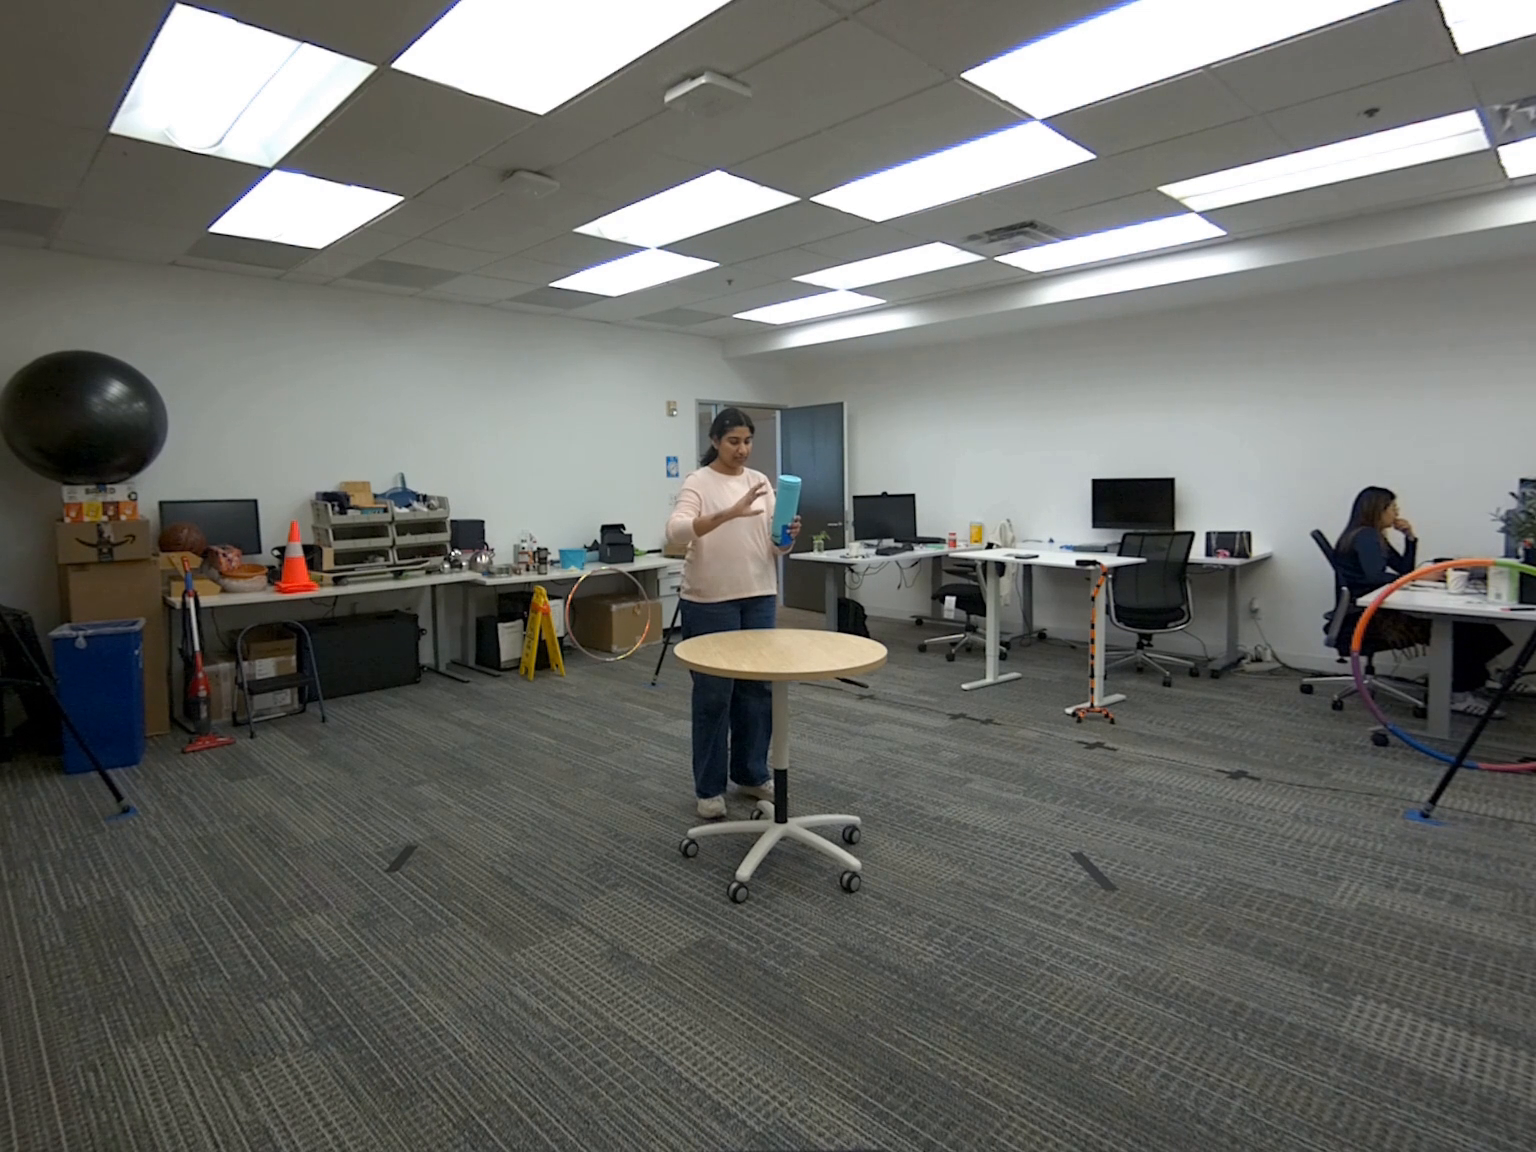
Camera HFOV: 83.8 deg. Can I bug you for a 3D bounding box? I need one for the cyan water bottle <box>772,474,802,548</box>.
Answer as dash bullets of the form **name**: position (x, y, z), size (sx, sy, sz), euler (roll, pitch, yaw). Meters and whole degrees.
- **cyan water bottle**: position (0.042, -0.246, 3.352), size (0.092, 0.280, 0.093), euler (11, 14, -5)
